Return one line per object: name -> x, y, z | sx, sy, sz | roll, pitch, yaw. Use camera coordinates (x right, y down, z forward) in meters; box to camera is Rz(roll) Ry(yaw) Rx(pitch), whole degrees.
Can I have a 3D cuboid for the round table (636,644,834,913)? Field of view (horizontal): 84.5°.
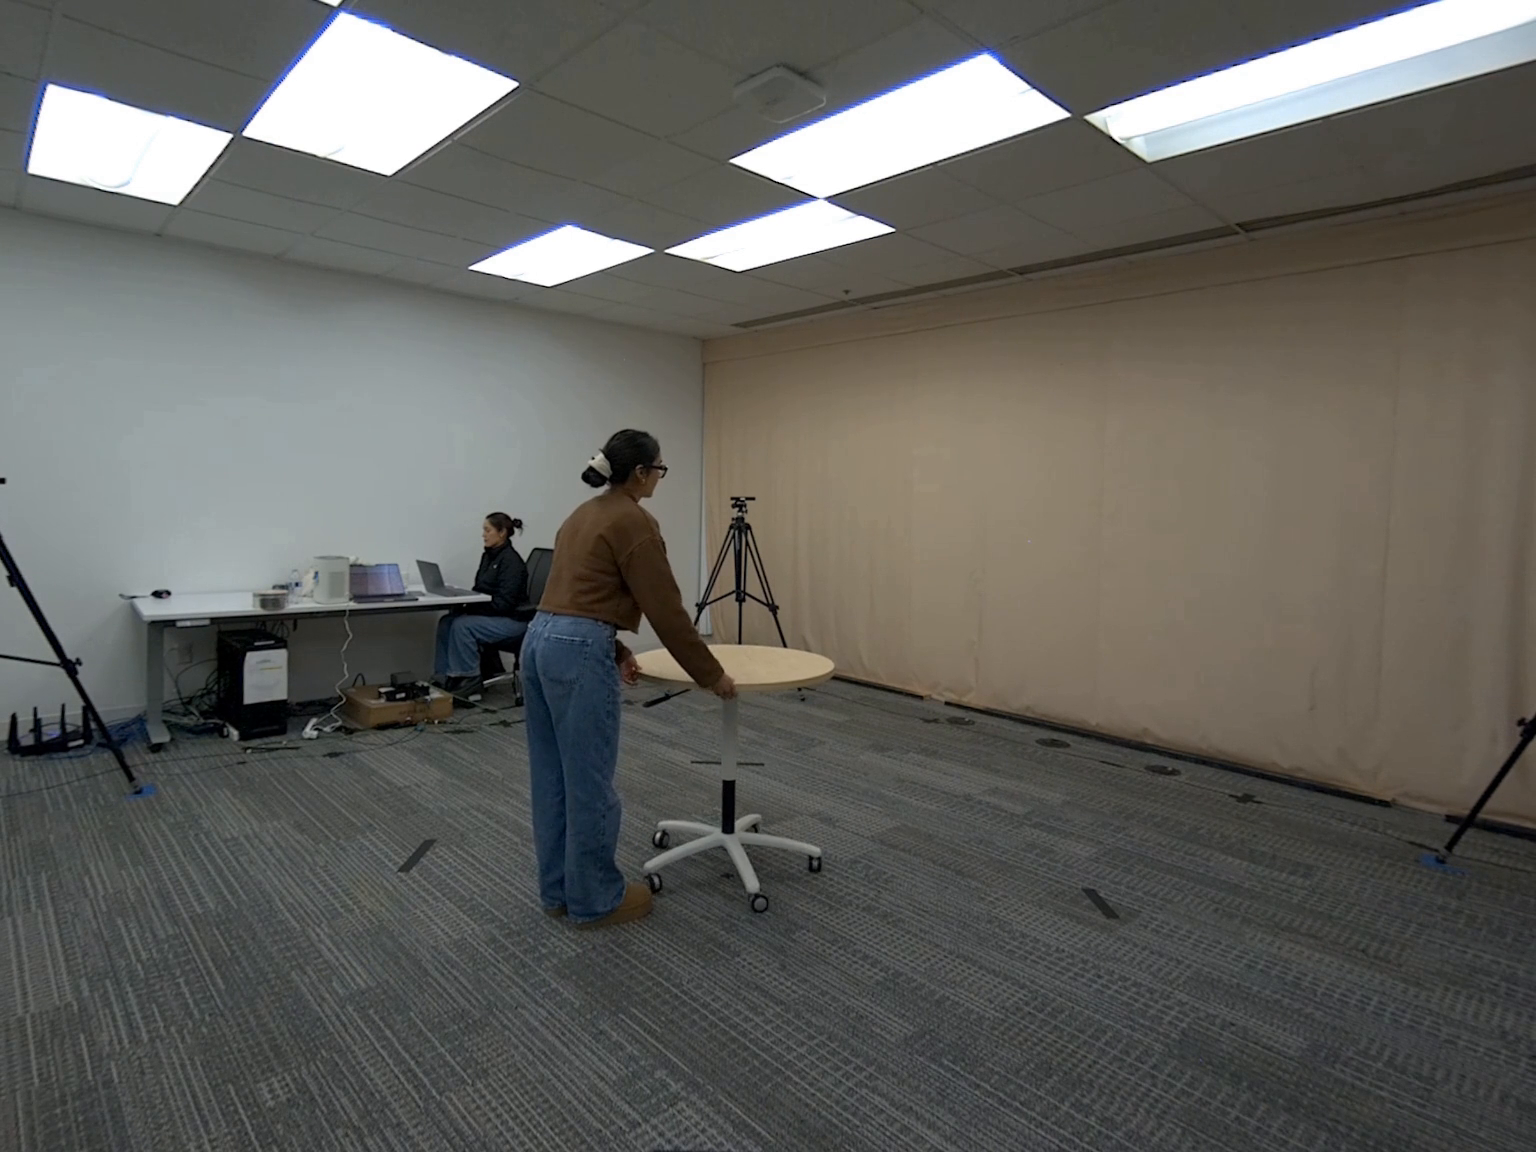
round table -> -0.147, 0.714, 3.149 | 0.763, 0.792, 0.766 | 1, 4, -1
